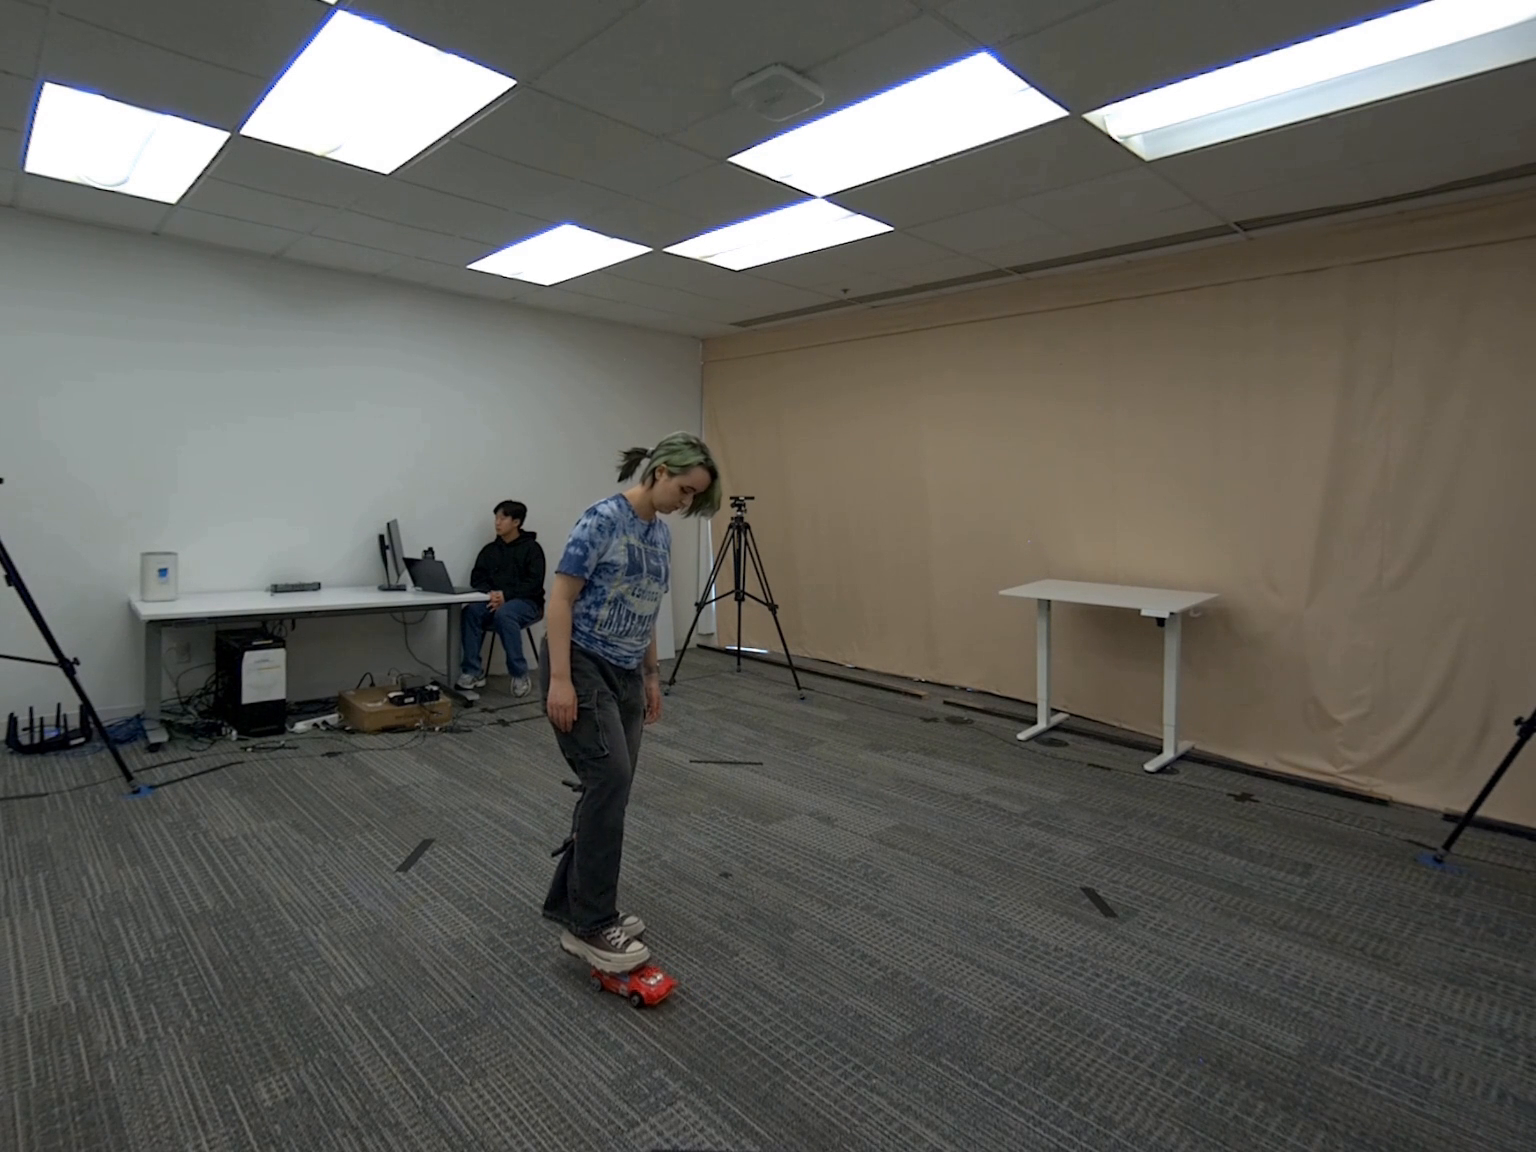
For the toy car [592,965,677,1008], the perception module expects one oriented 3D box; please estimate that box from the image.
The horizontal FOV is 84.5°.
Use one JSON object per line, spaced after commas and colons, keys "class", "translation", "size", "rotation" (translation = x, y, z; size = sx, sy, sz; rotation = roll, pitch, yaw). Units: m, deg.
{"class": "toy car", "translation": [-0.380, 1.140, 2.349], "size": [0.259, 0.083, 0.128], "rotation": [-10, 0, 33]}
